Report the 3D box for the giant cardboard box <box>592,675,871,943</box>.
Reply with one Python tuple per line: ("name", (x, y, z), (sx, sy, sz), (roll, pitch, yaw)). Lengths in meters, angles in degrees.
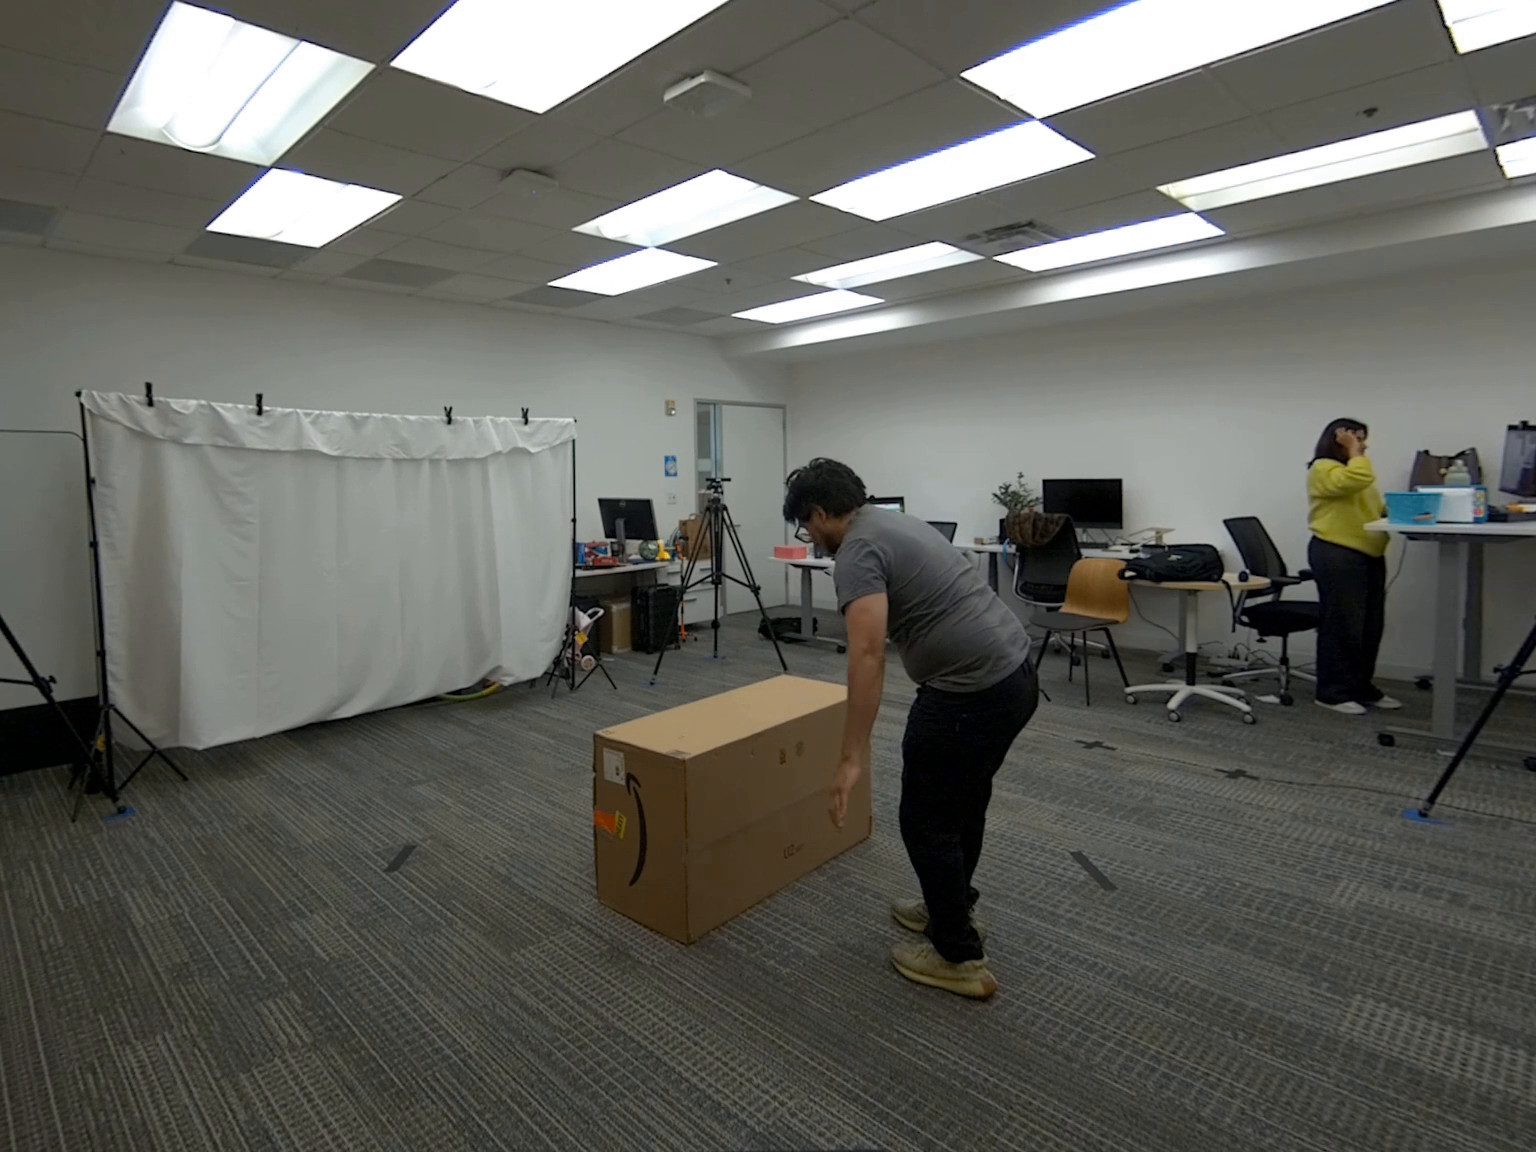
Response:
("giant cardboard box", (-0.092, 0.758, 3.061), (0.439, 0.575, 1.000), (3, 7, 40))
